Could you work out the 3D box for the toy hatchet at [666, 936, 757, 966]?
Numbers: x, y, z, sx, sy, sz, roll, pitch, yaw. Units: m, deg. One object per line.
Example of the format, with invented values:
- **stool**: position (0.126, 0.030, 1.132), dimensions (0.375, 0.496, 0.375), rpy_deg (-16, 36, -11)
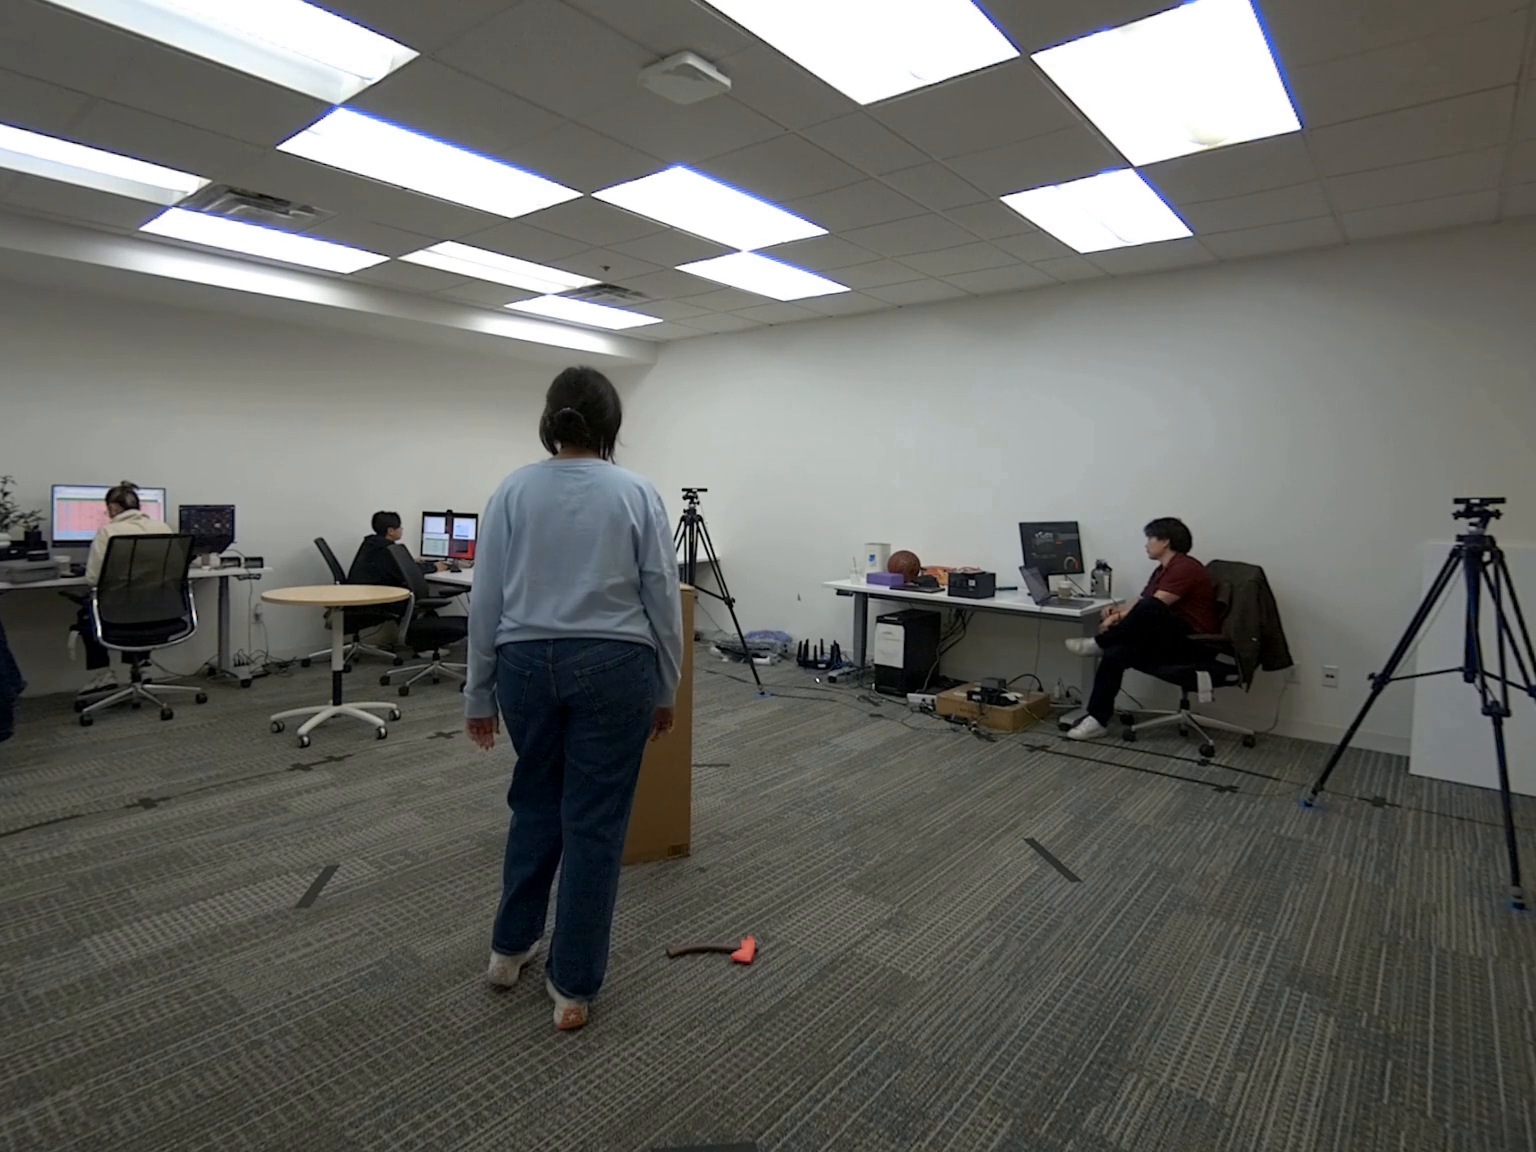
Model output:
- **toy hatchet**: position (-0.163, 1.116, 2.513), dimensions (0.266, 0.029, 0.134), rpy_deg (-3, 8, -17)
